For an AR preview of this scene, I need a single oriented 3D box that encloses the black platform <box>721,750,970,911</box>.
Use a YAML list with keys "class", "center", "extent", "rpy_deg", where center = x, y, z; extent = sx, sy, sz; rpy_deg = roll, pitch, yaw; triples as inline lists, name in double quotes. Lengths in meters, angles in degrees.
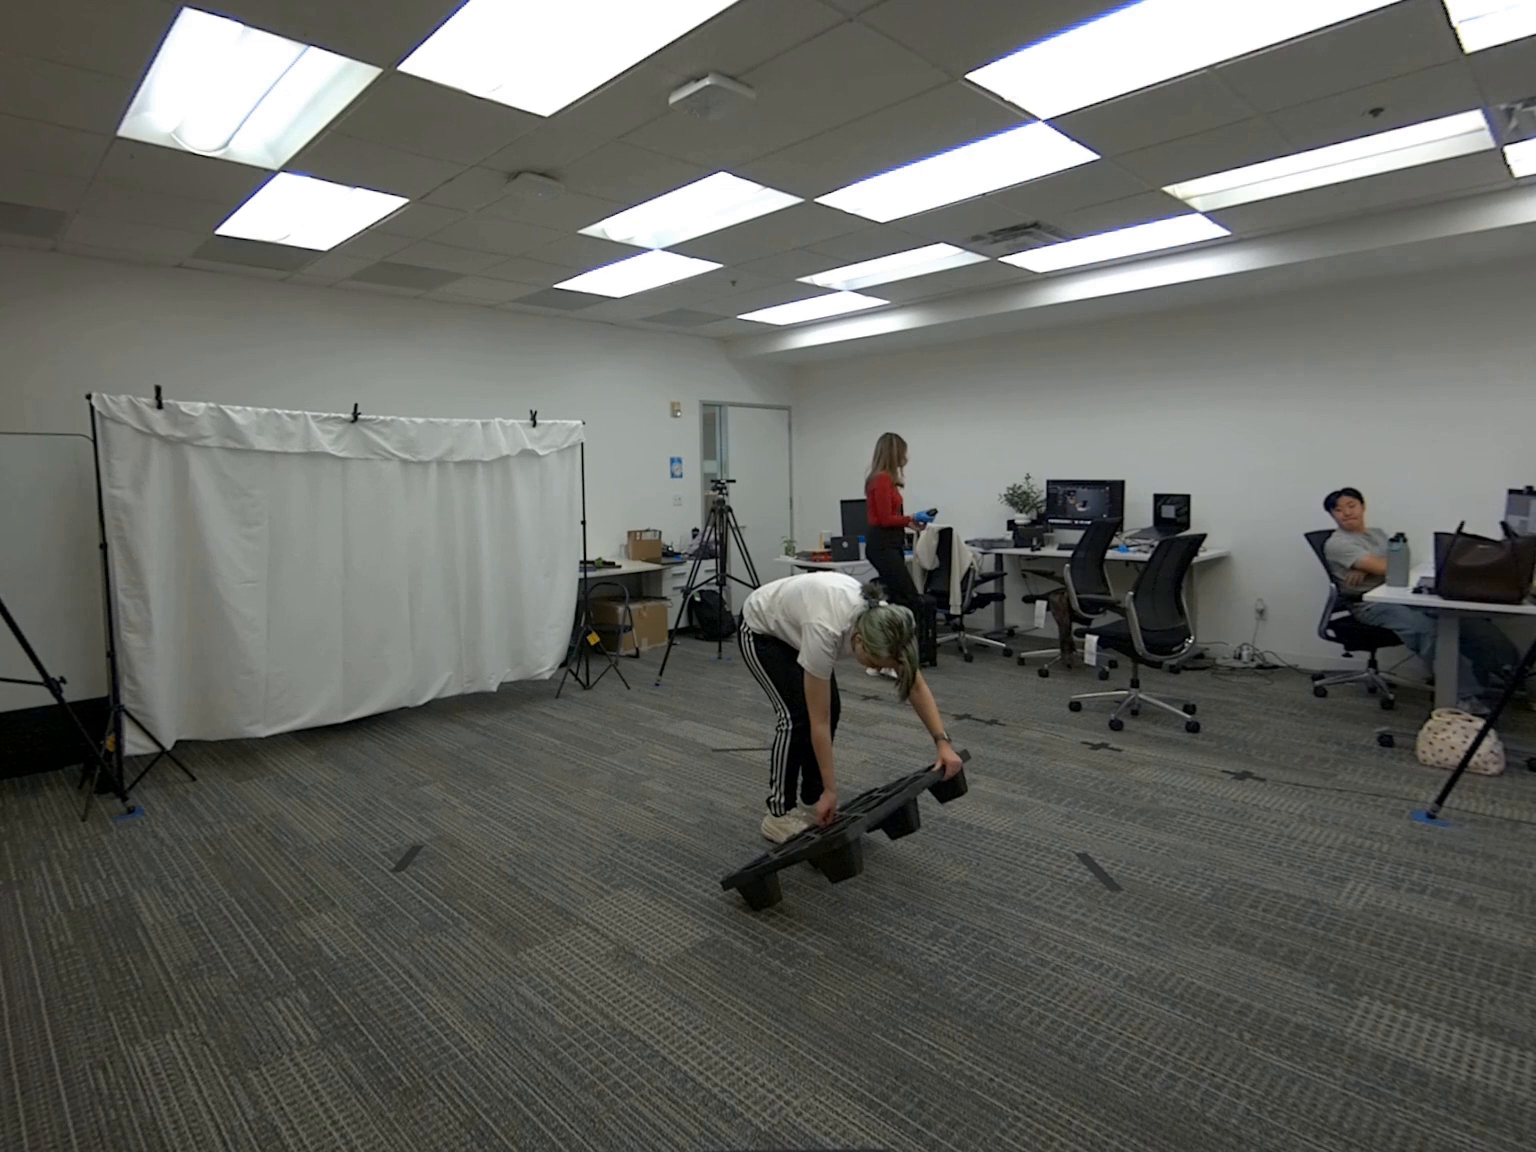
- class: "black platform"
  center: [0.302, 0.870, 2.899]
  extent: [0.787, 0.146, 0.608]
  rpy_deg: [-14, -18, -49]
